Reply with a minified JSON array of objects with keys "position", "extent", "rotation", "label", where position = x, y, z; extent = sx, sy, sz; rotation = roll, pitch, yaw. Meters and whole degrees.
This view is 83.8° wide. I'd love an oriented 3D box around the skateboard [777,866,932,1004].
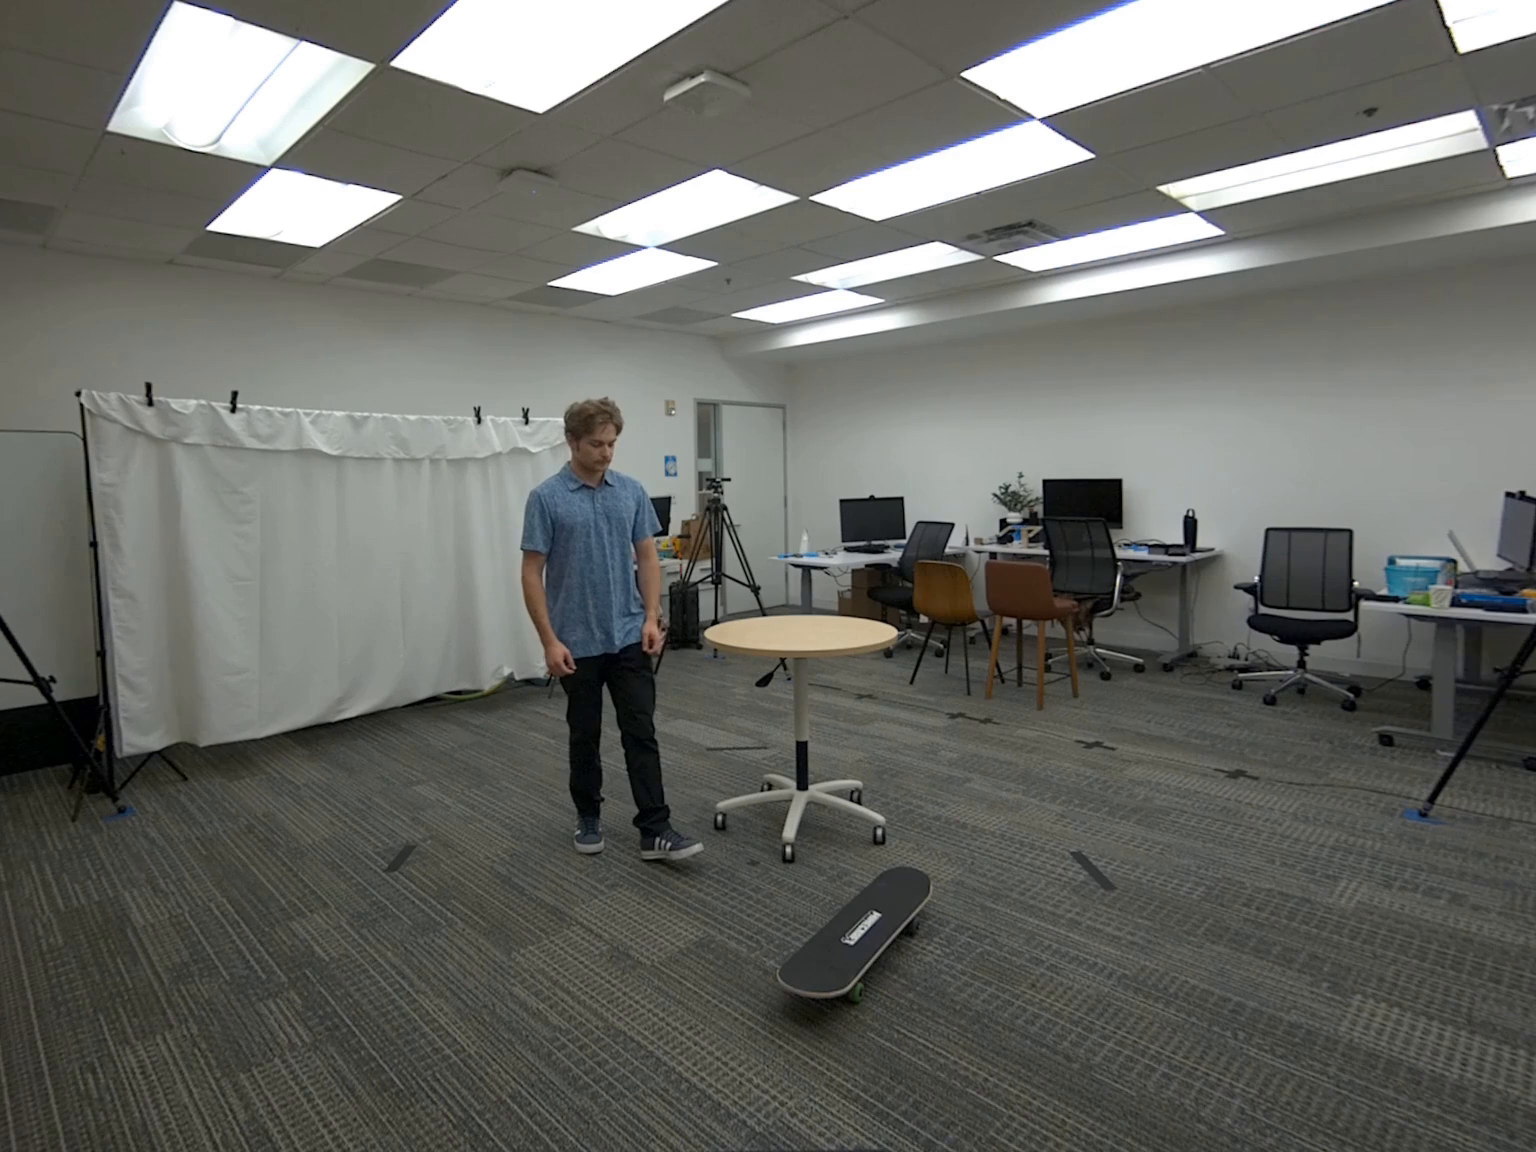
[{"position":[0.280,1.047,2.486],"extent":[0.199,0.110,0.768],"rotation":[3,8,31],"label":"skateboard"}]
